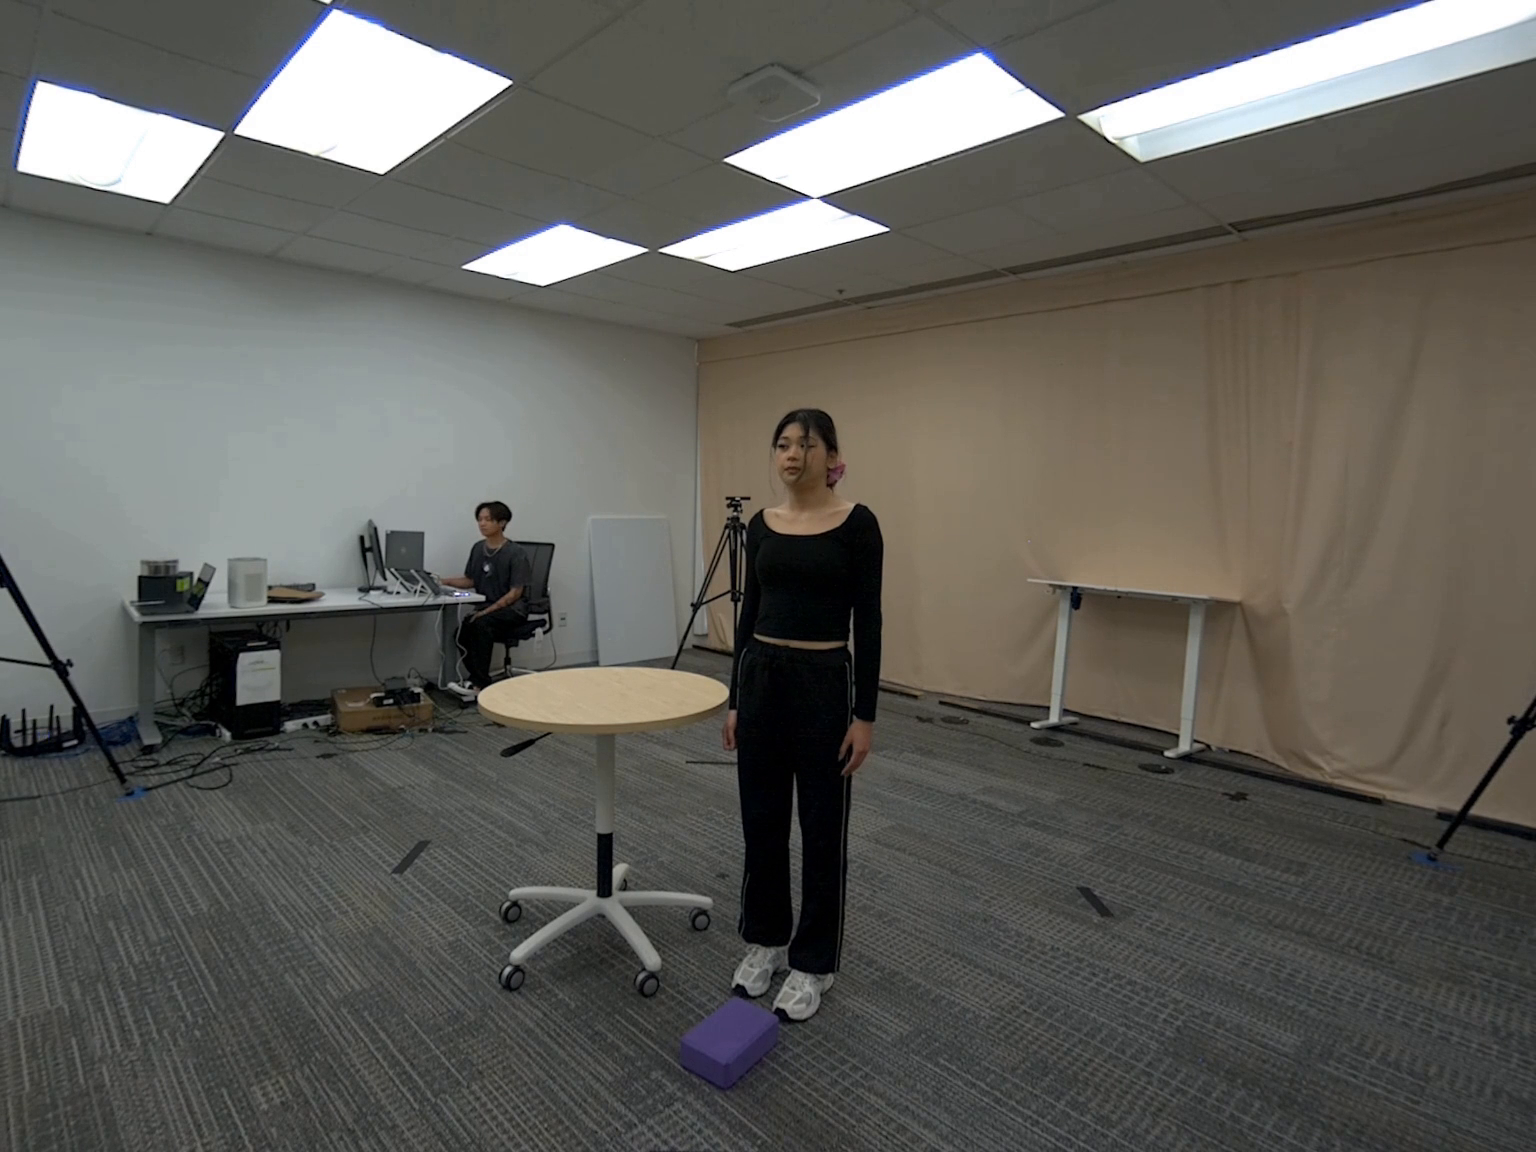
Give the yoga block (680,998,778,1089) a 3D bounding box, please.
[{"bbox_3d":[-0.106,1.165,2.096,0.153,0.076,0.224,6,7,36],"label":"yoga block"}]
